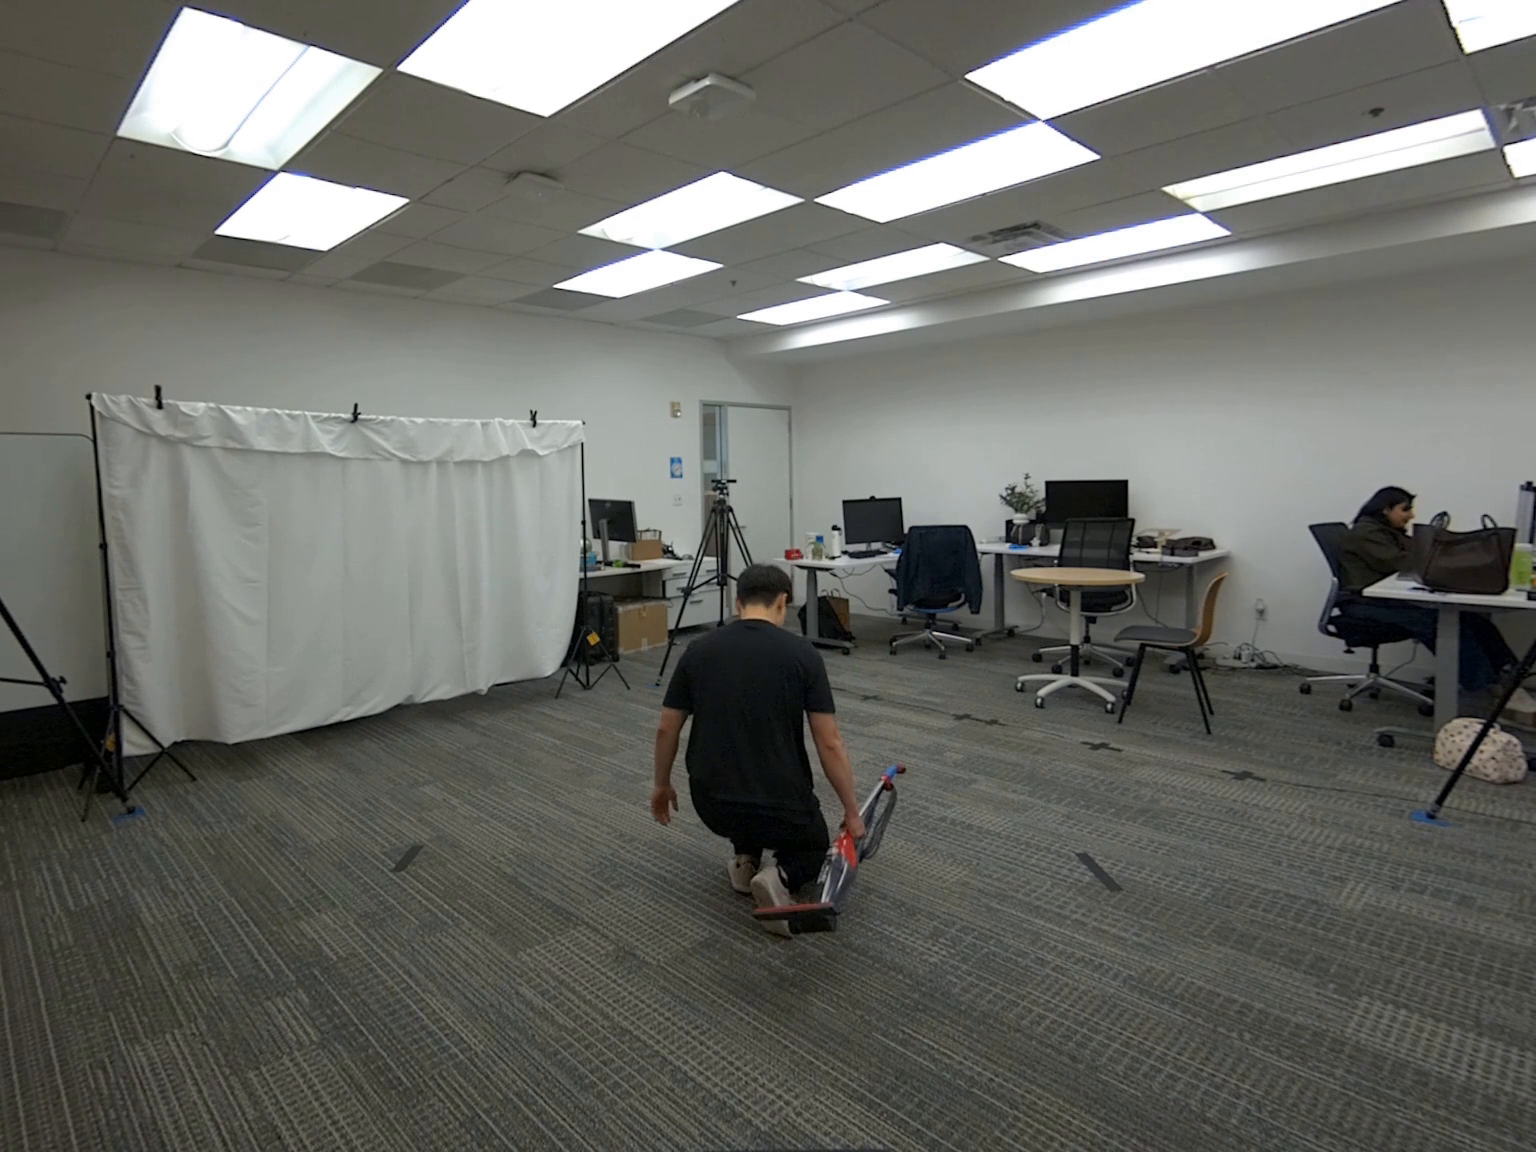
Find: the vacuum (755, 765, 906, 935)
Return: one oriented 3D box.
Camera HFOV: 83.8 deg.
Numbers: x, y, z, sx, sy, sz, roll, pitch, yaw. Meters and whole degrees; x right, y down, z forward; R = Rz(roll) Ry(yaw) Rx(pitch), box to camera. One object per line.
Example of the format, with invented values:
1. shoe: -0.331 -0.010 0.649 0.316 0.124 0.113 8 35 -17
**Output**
1. vacuum: 0.324 0.844 2.829 0.256 0.144 1.035 -20 2 26
